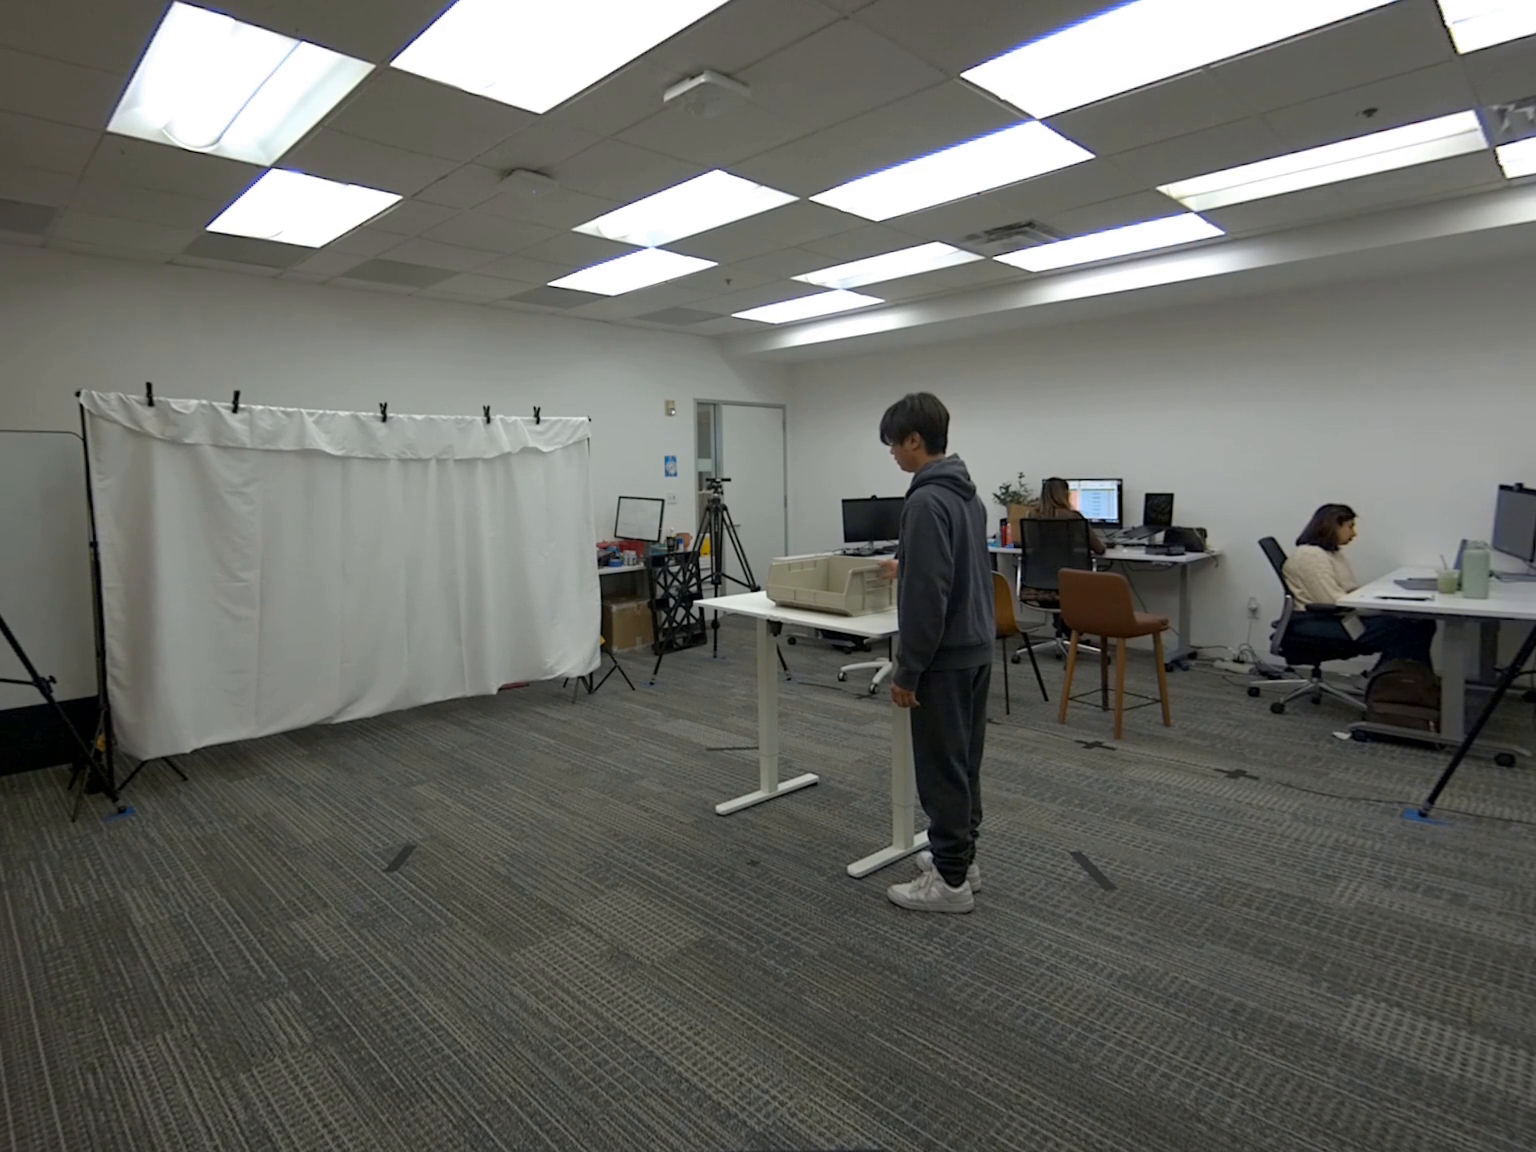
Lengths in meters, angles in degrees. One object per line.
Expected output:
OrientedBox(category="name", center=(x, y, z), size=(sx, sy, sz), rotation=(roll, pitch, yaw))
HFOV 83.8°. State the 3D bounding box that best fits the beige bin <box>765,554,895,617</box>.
OrientedBox(category="beige bin", center=(0.272, 0.034, 3.370), size=(0.367, 0.188, 0.435), rotation=(-6, 8, -42))
